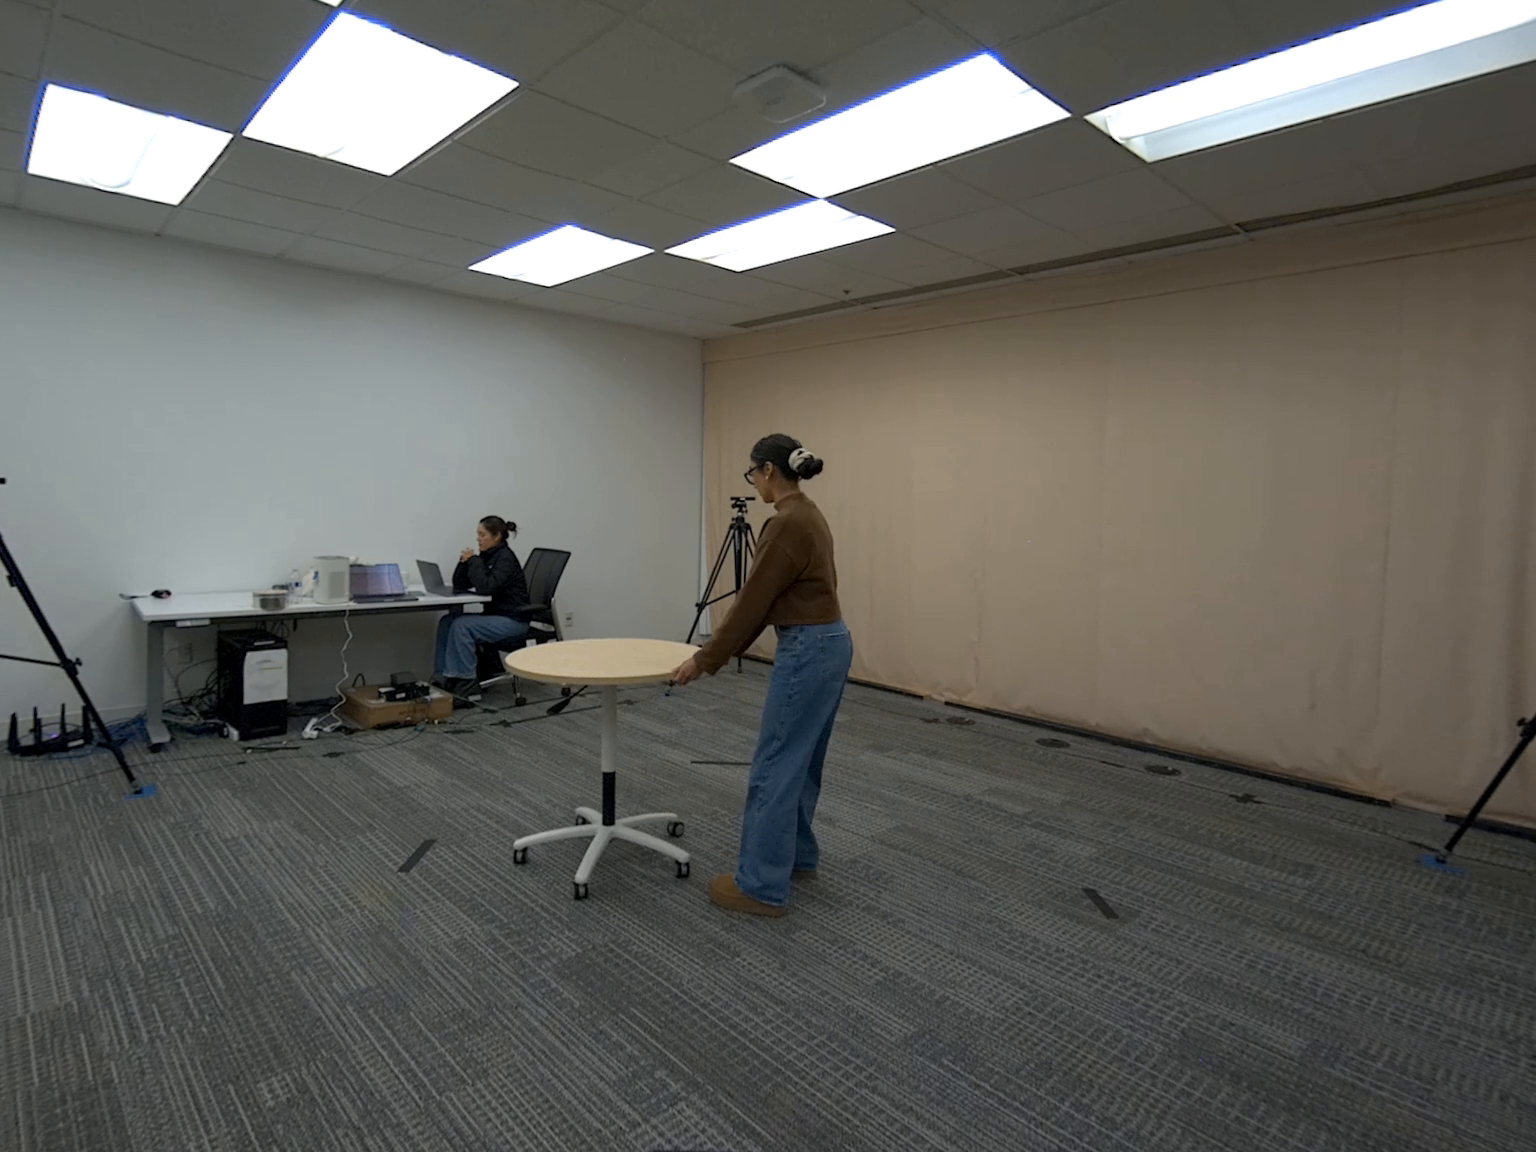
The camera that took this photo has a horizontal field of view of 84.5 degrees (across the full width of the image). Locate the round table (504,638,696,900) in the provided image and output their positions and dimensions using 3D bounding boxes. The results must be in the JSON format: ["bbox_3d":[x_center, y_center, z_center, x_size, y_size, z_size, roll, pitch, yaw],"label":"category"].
[{"bbox_3d":[-0.581,0.688,3.208,0.784,0.784,0.788,1,4,-1],"label":"round table"}]
